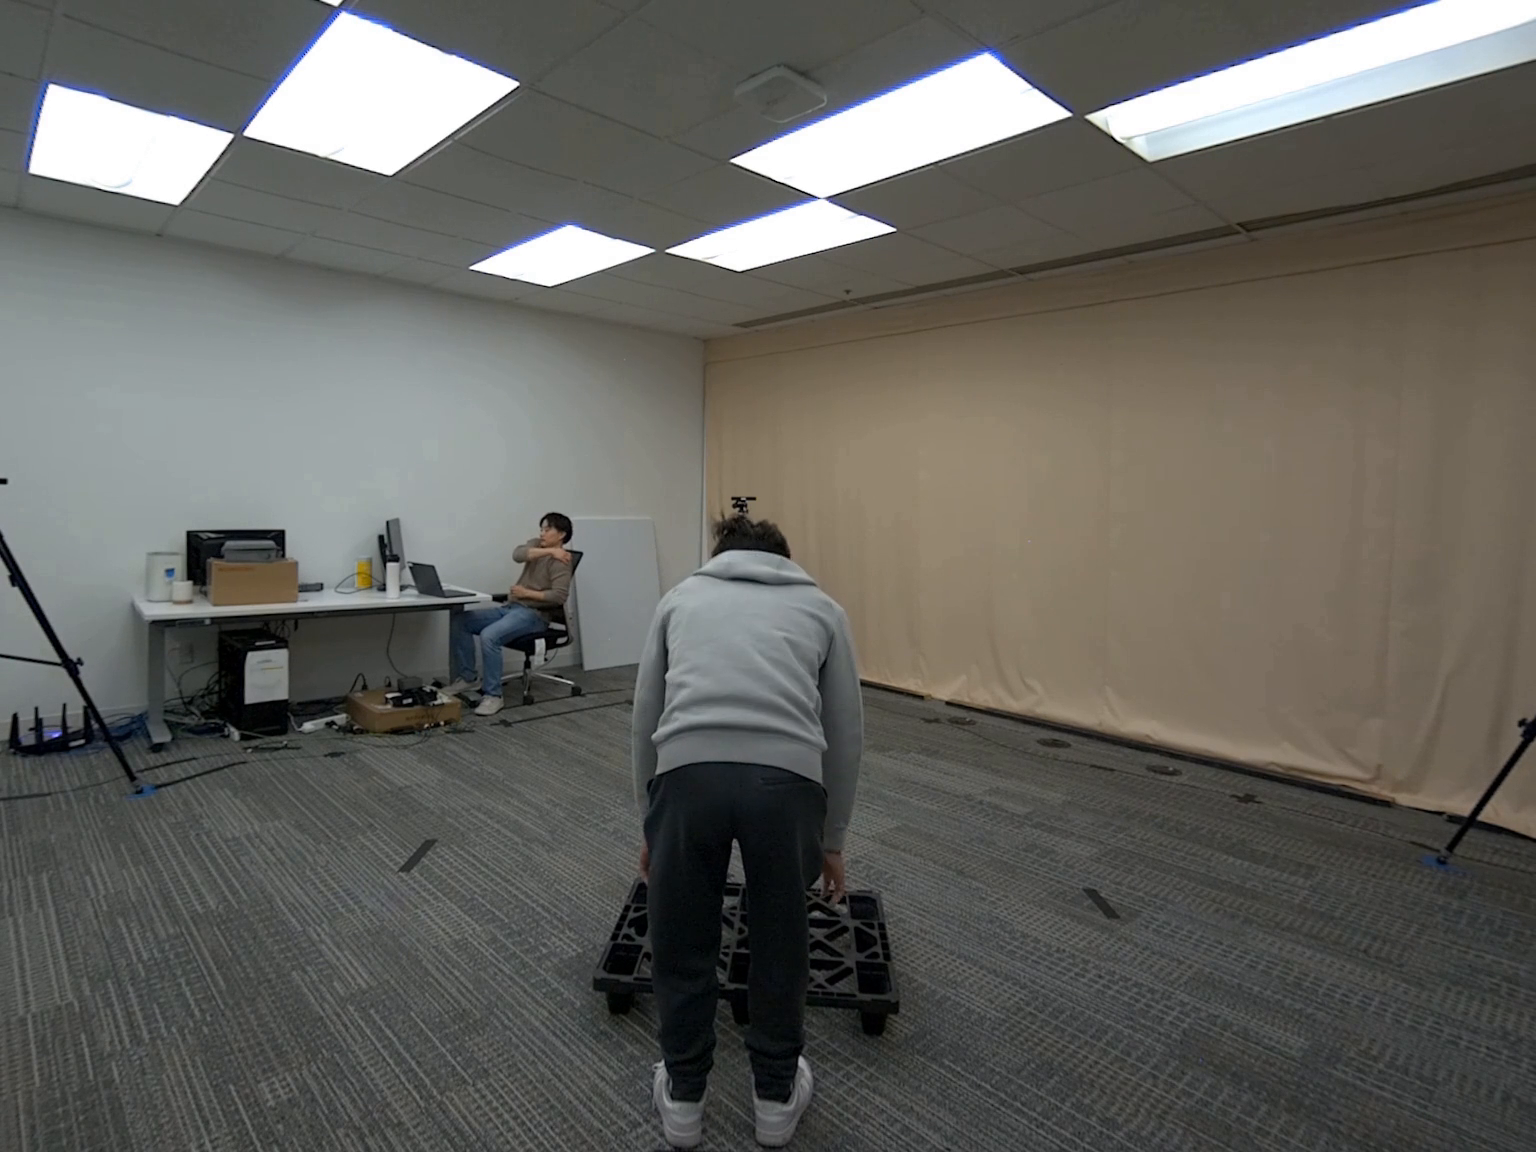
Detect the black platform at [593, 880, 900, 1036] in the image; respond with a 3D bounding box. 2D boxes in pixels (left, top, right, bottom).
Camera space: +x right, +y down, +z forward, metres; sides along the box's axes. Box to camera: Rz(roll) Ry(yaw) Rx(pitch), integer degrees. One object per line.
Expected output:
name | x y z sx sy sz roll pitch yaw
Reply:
black platform | -0.060 1.098 2.461 0.809 0.143 0.604 2 5 4
